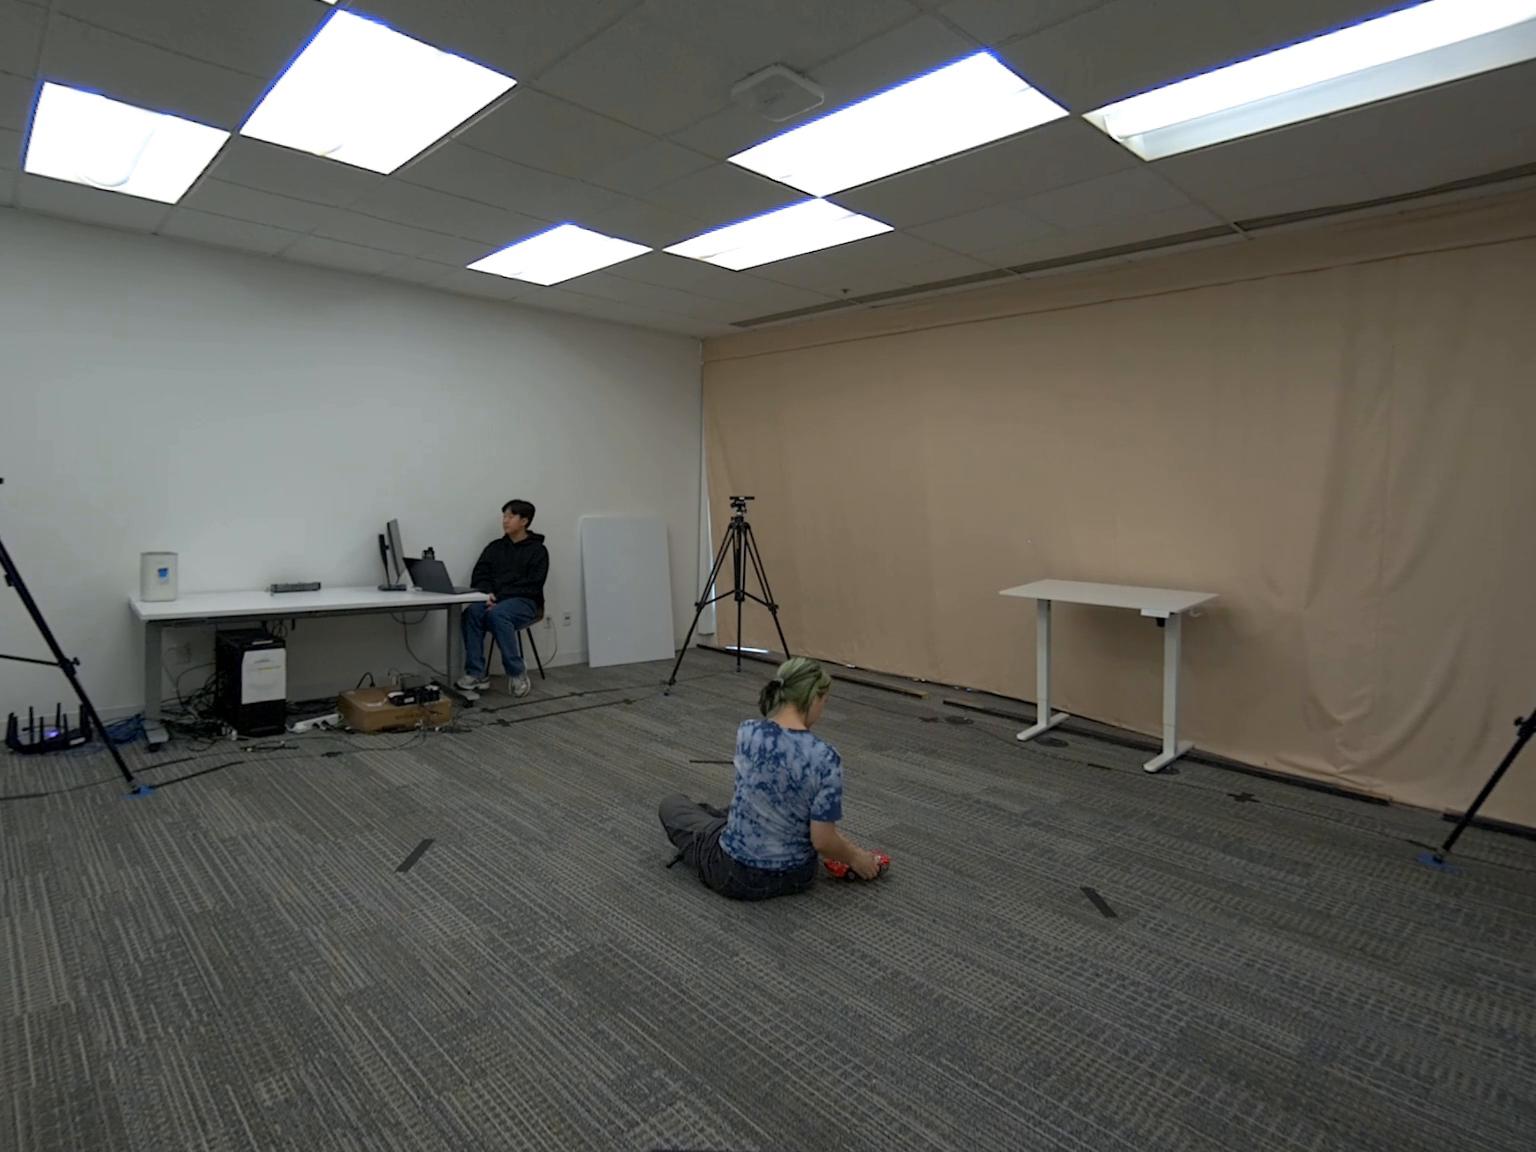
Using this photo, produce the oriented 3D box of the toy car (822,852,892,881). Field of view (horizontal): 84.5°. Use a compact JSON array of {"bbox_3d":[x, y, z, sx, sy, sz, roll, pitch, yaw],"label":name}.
[{"bbox_3d":[0.316,1.057,3.104,0.250,0.083,0.133,8,2,-22],"label":"toy car"}]
